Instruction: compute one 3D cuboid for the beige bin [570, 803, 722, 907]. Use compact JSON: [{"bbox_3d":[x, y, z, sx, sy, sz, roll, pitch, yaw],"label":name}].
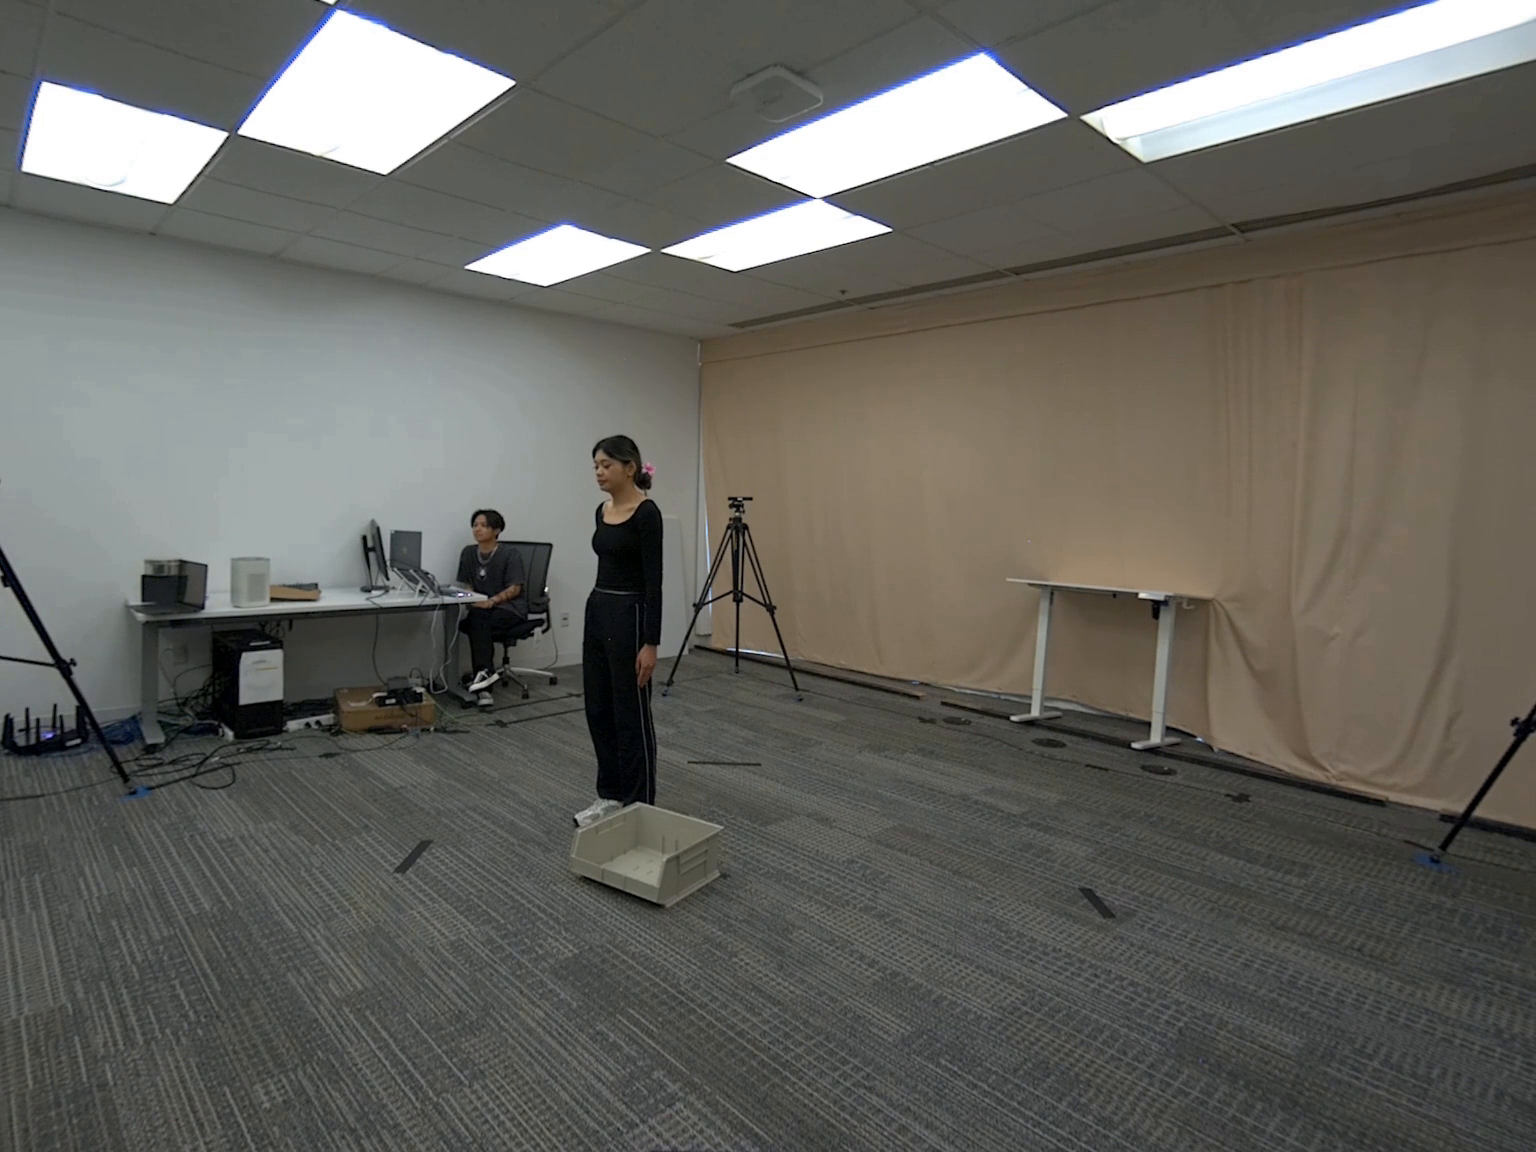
[{"bbox_3d":[-0.446,1.018,3.073,0.432,0.188,0.369,4,4,33],"label":"beige bin"}]
